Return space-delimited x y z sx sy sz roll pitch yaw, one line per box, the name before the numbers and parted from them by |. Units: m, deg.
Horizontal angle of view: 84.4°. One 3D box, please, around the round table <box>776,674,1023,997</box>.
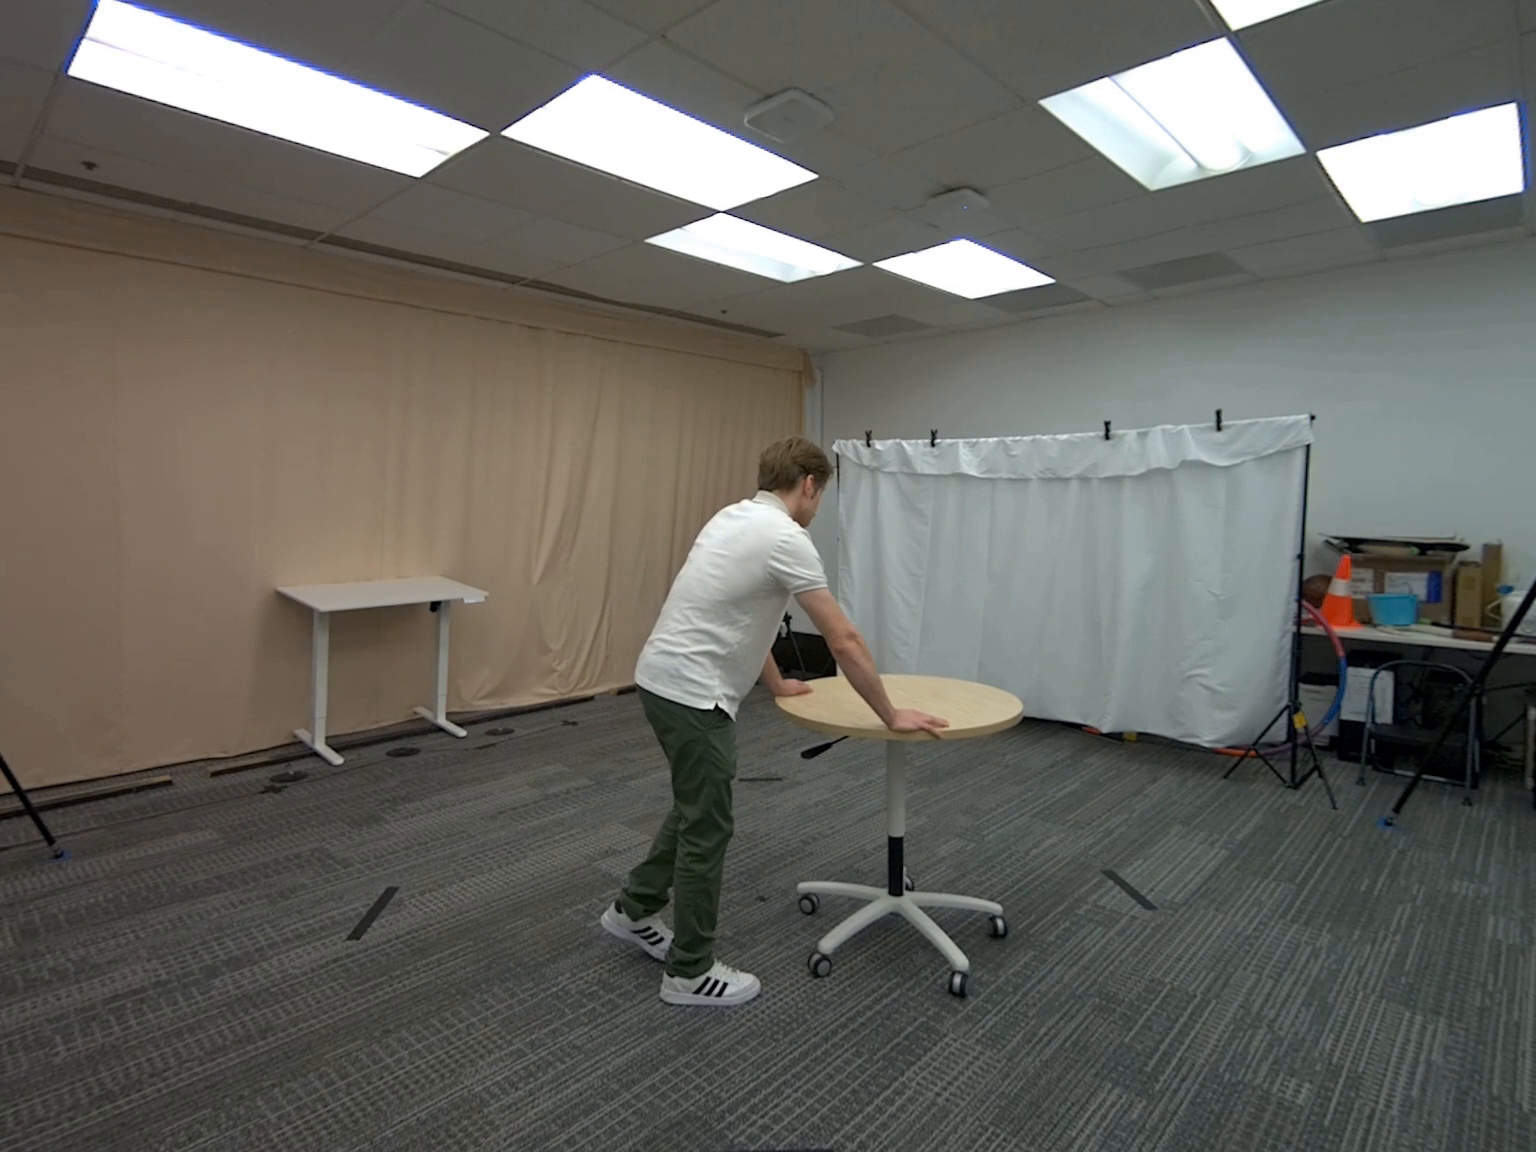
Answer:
round table | 0.418 0.781 2.702 0.763 0.792 0.766 -1 4 -2
